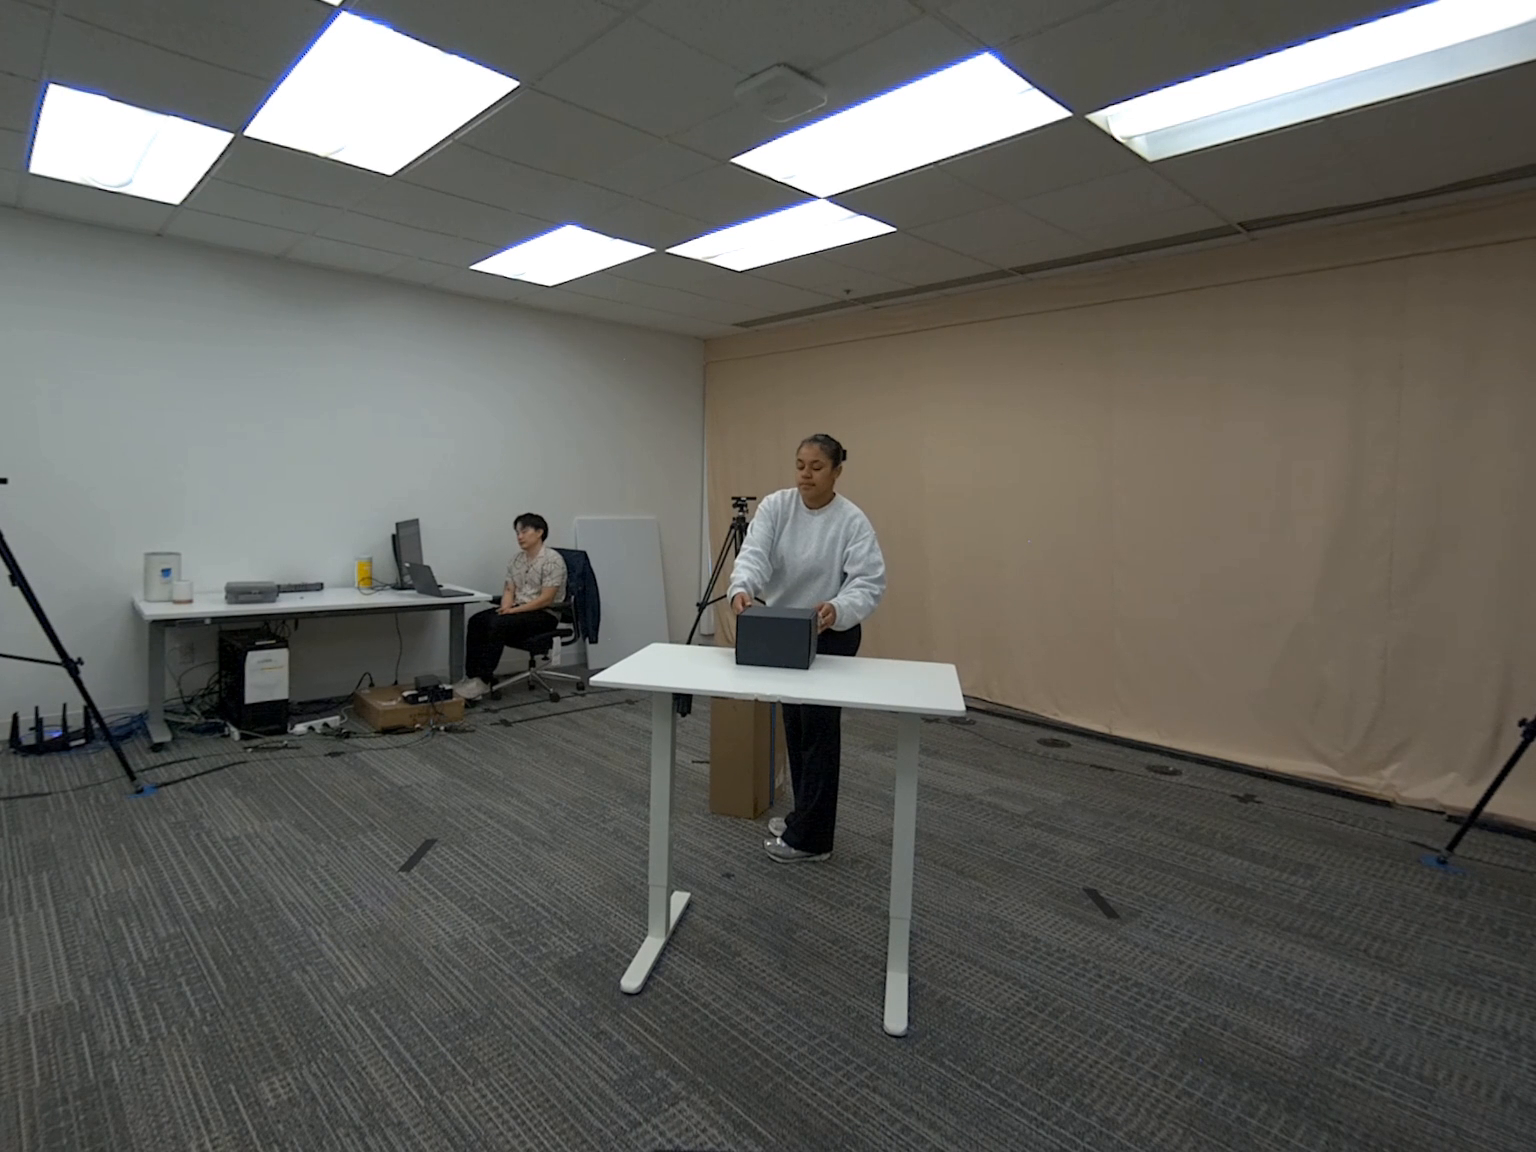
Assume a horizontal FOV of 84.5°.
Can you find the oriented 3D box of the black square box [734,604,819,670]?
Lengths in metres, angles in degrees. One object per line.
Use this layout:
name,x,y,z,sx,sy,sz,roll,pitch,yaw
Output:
black square box,0.029,0.193,2.641,0.230,0.155,0.215,5,5,11
